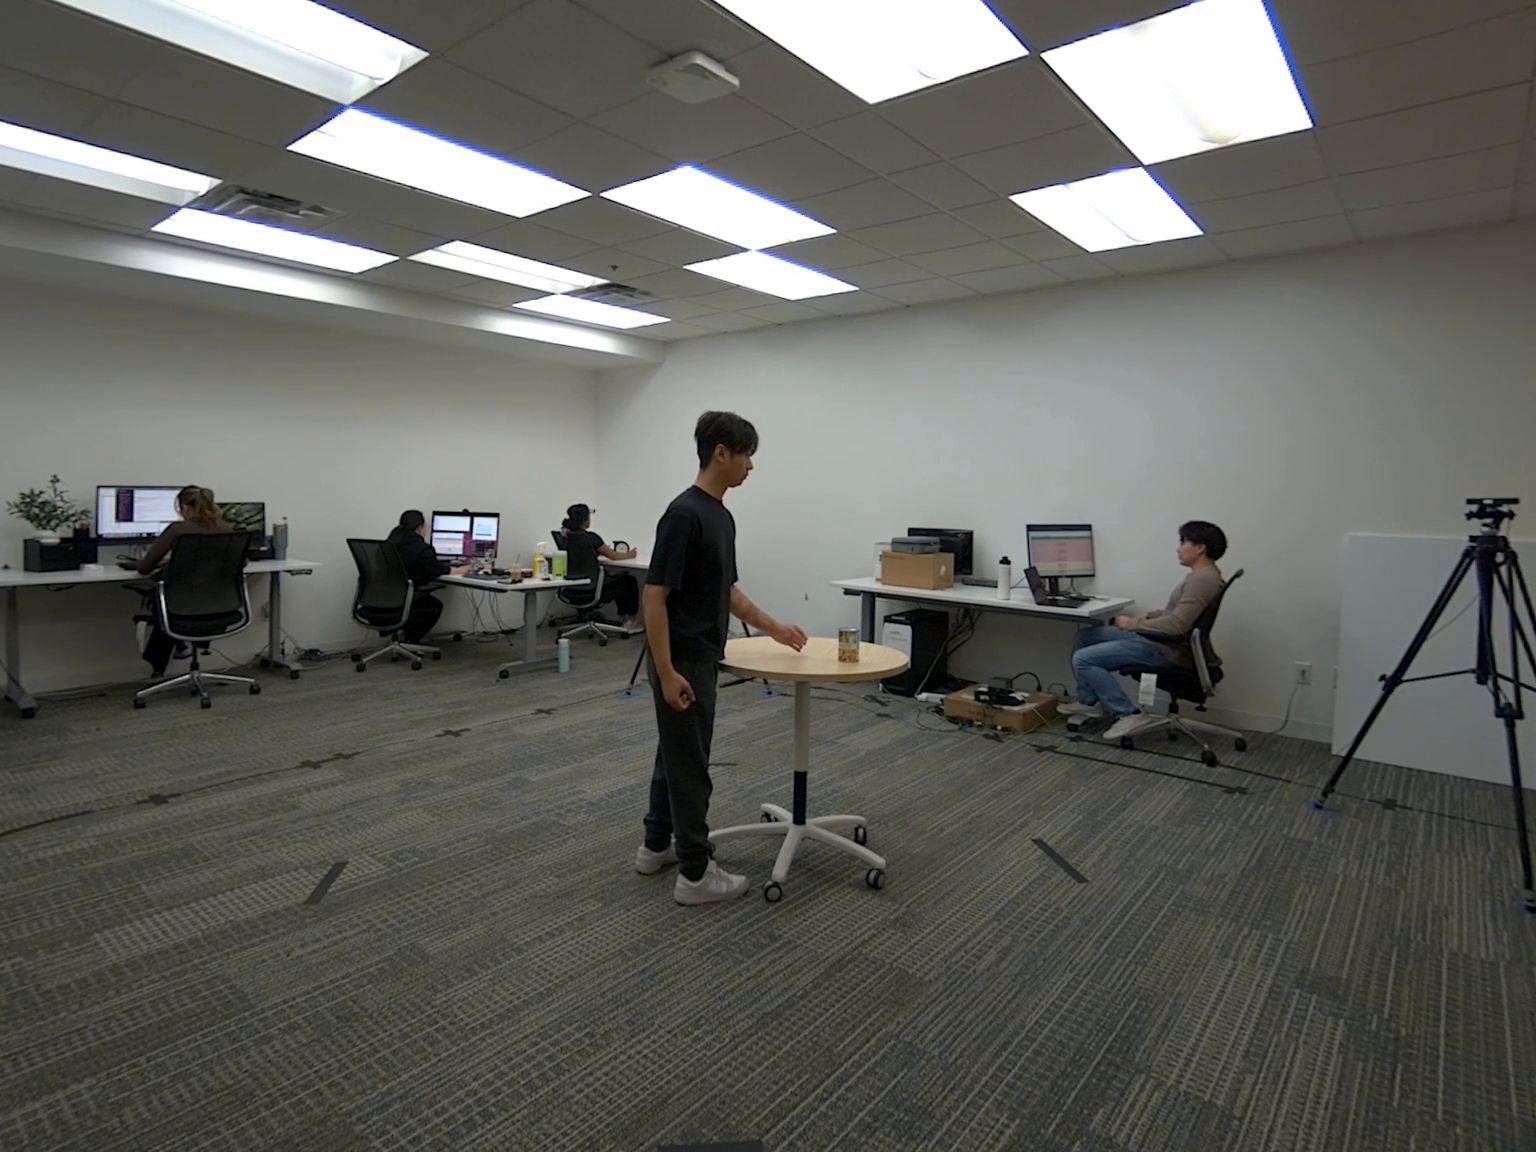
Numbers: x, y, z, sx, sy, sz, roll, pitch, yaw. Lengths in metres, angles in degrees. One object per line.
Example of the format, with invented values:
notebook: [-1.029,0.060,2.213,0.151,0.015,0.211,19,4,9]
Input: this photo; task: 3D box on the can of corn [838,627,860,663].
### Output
can of corn: [0.279,0.246,3.032,0.074,0.110,0.075,2,5,-2]
